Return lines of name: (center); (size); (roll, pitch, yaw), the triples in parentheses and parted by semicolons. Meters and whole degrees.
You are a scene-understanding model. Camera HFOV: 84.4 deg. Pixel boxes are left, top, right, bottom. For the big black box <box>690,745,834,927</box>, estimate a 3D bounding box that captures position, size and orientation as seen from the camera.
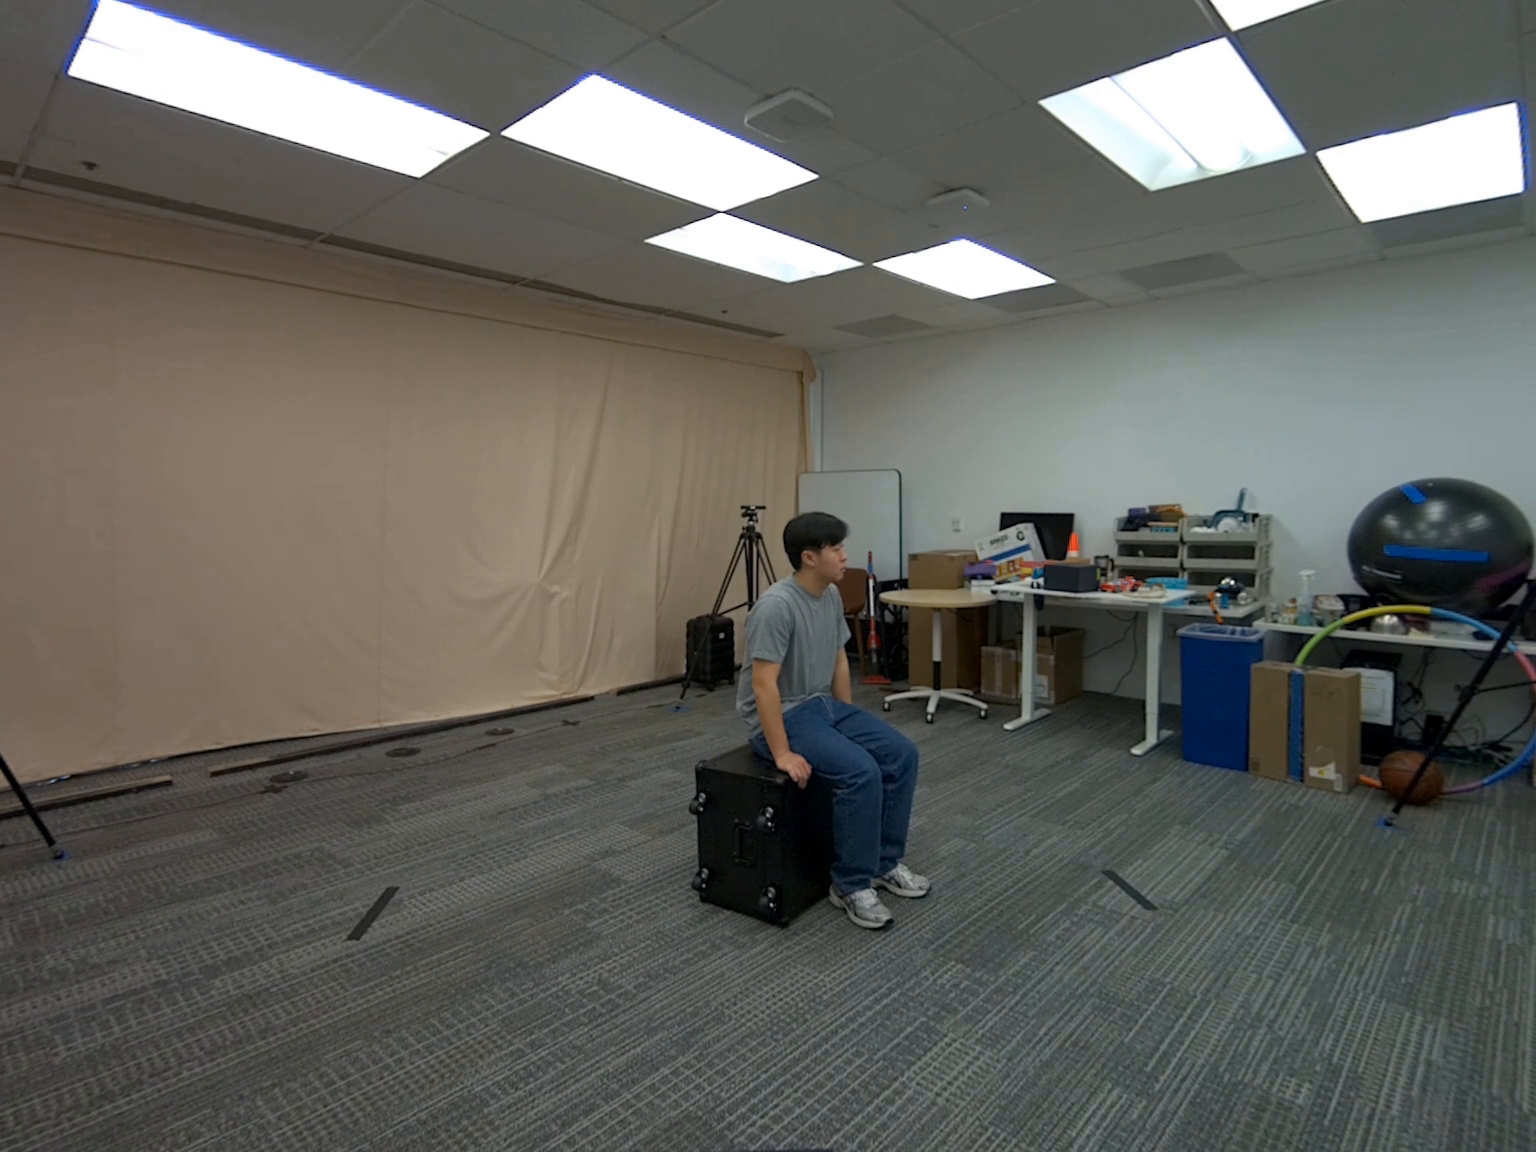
big black box: (0.084, 0.876, 3.147); (0.408, 0.520, 0.838); (0, 4, 33)
